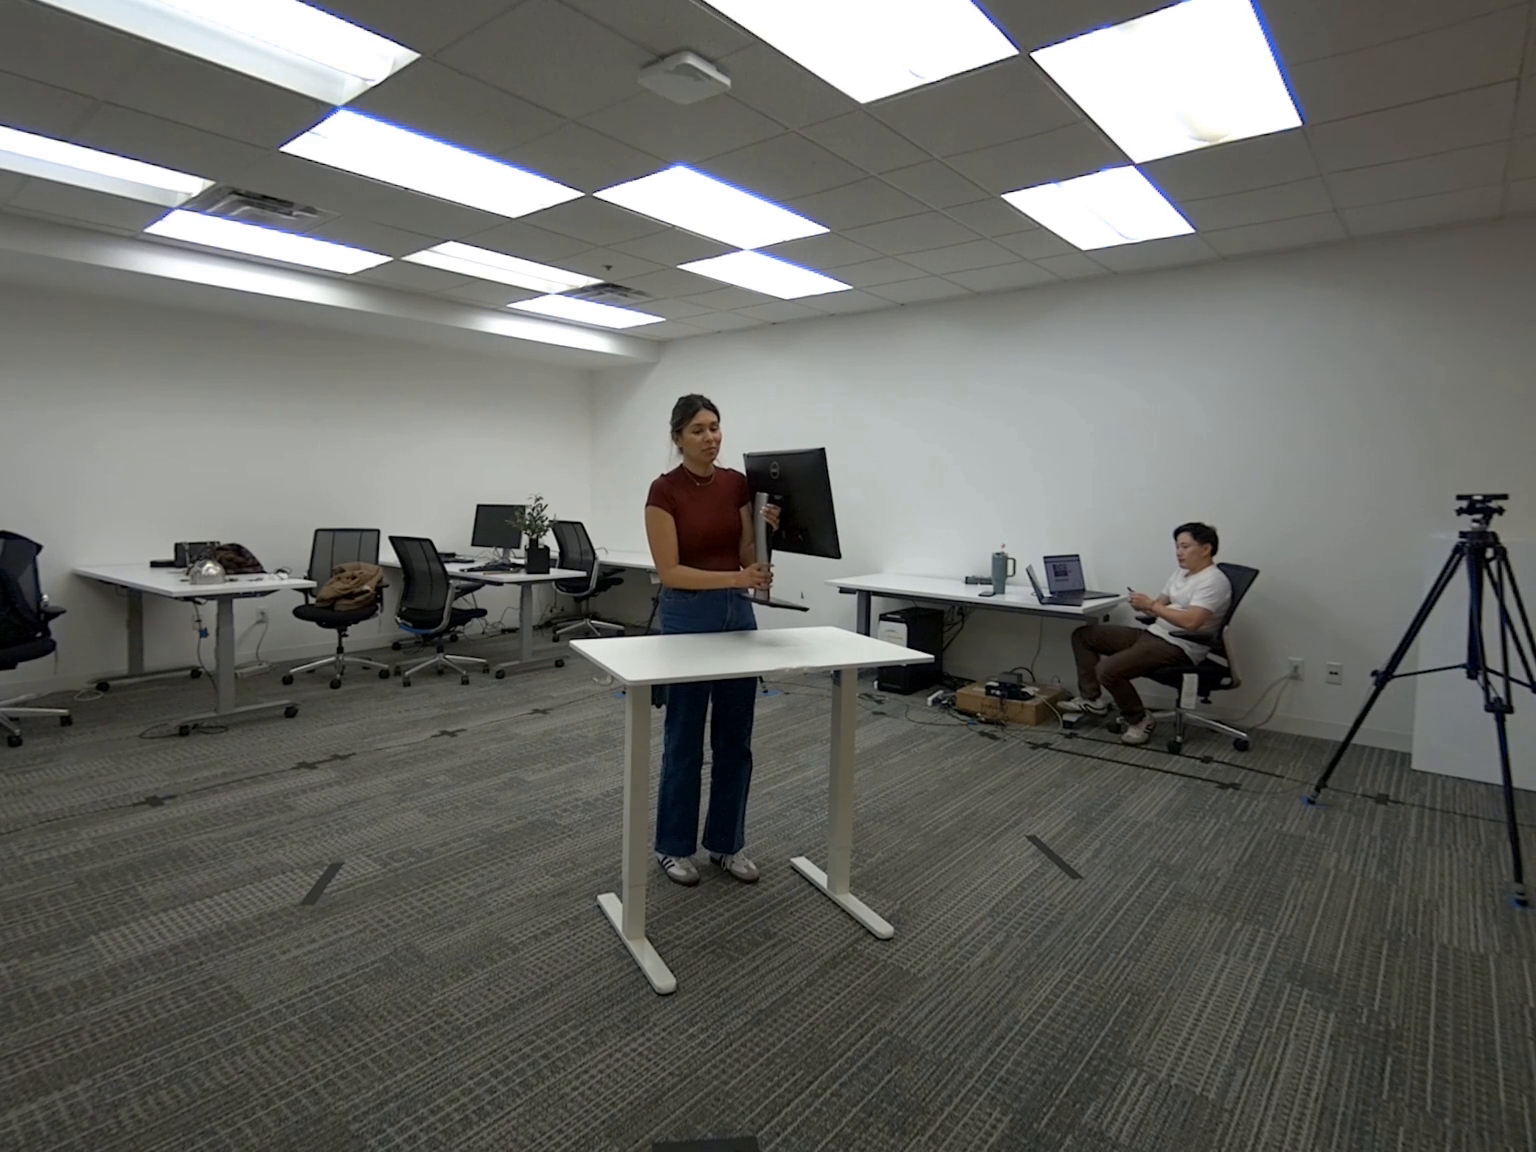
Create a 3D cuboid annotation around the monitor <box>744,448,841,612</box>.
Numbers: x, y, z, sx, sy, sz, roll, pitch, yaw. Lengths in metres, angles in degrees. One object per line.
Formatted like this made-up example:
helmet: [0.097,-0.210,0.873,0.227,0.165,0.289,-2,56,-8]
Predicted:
monitor: [0.026,-0.163,2.844,0.182,0.522,0.555,3,2,-29]
